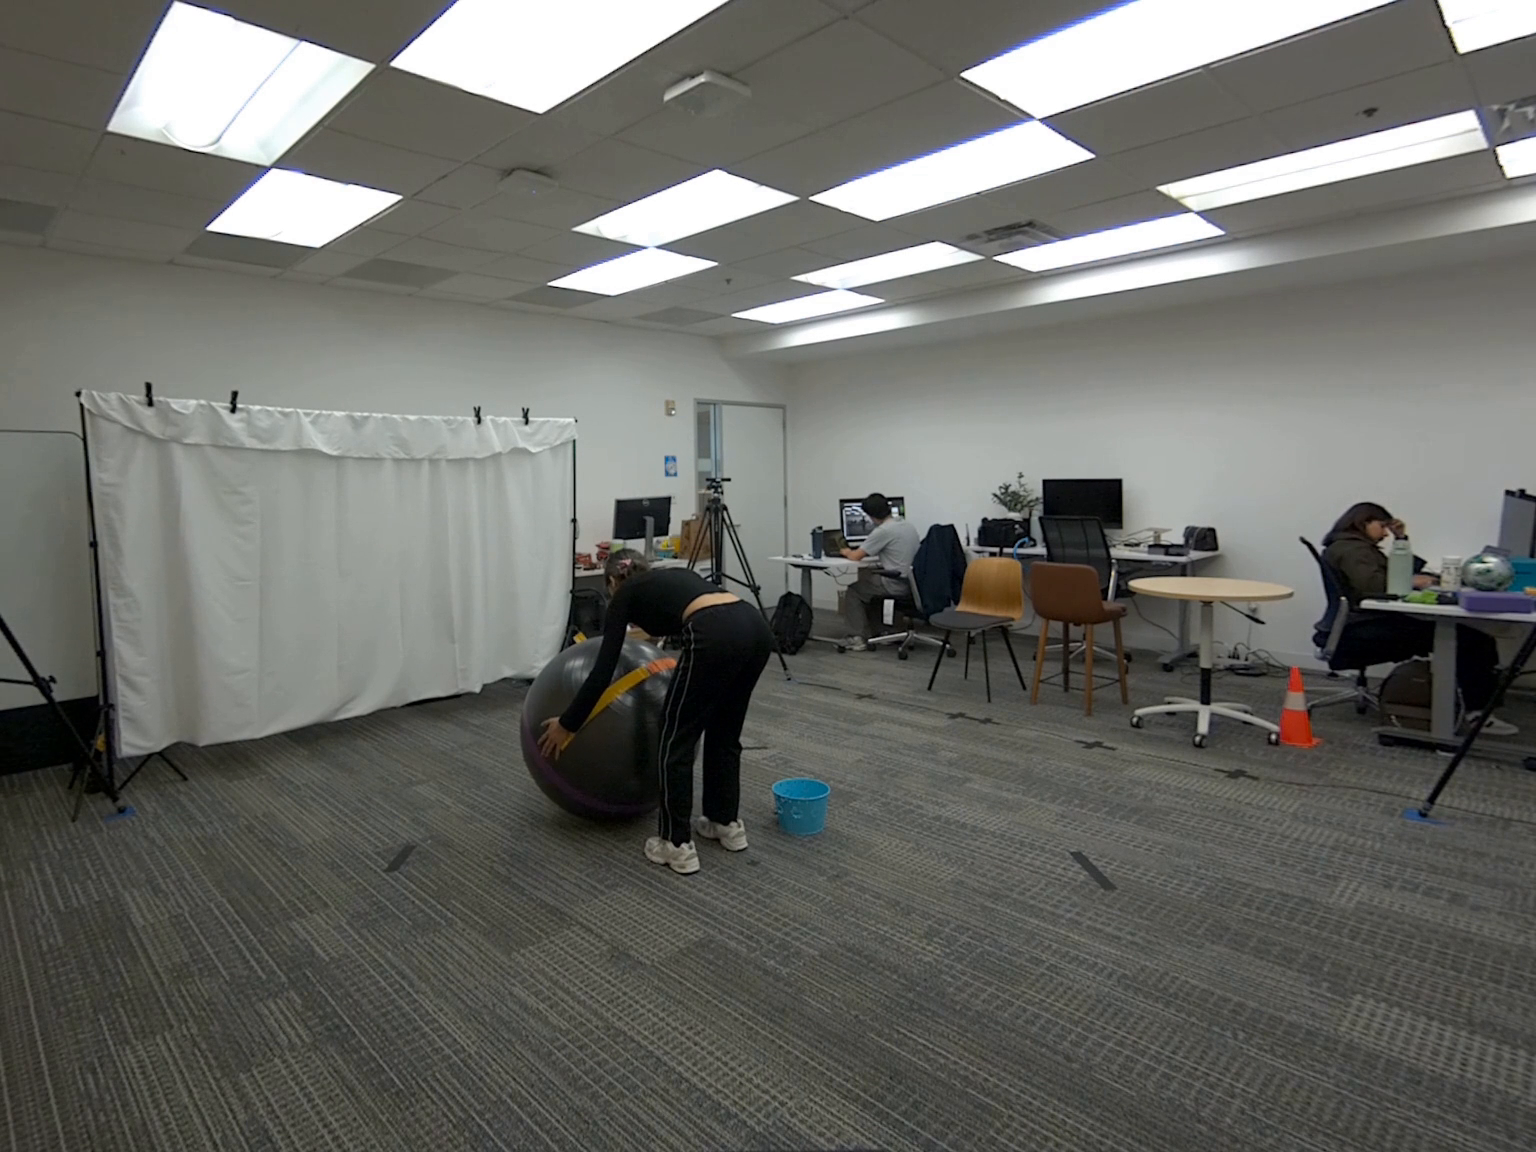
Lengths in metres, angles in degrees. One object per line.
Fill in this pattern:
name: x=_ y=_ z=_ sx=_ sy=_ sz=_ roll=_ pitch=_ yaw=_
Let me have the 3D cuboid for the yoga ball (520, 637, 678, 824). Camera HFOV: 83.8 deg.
yoga ball: x=-0.669 y=0.628 z=3.603 sx=0.757 sy=0.755 sz=0.762 roll=-1 pitch=5 yaw=-2
